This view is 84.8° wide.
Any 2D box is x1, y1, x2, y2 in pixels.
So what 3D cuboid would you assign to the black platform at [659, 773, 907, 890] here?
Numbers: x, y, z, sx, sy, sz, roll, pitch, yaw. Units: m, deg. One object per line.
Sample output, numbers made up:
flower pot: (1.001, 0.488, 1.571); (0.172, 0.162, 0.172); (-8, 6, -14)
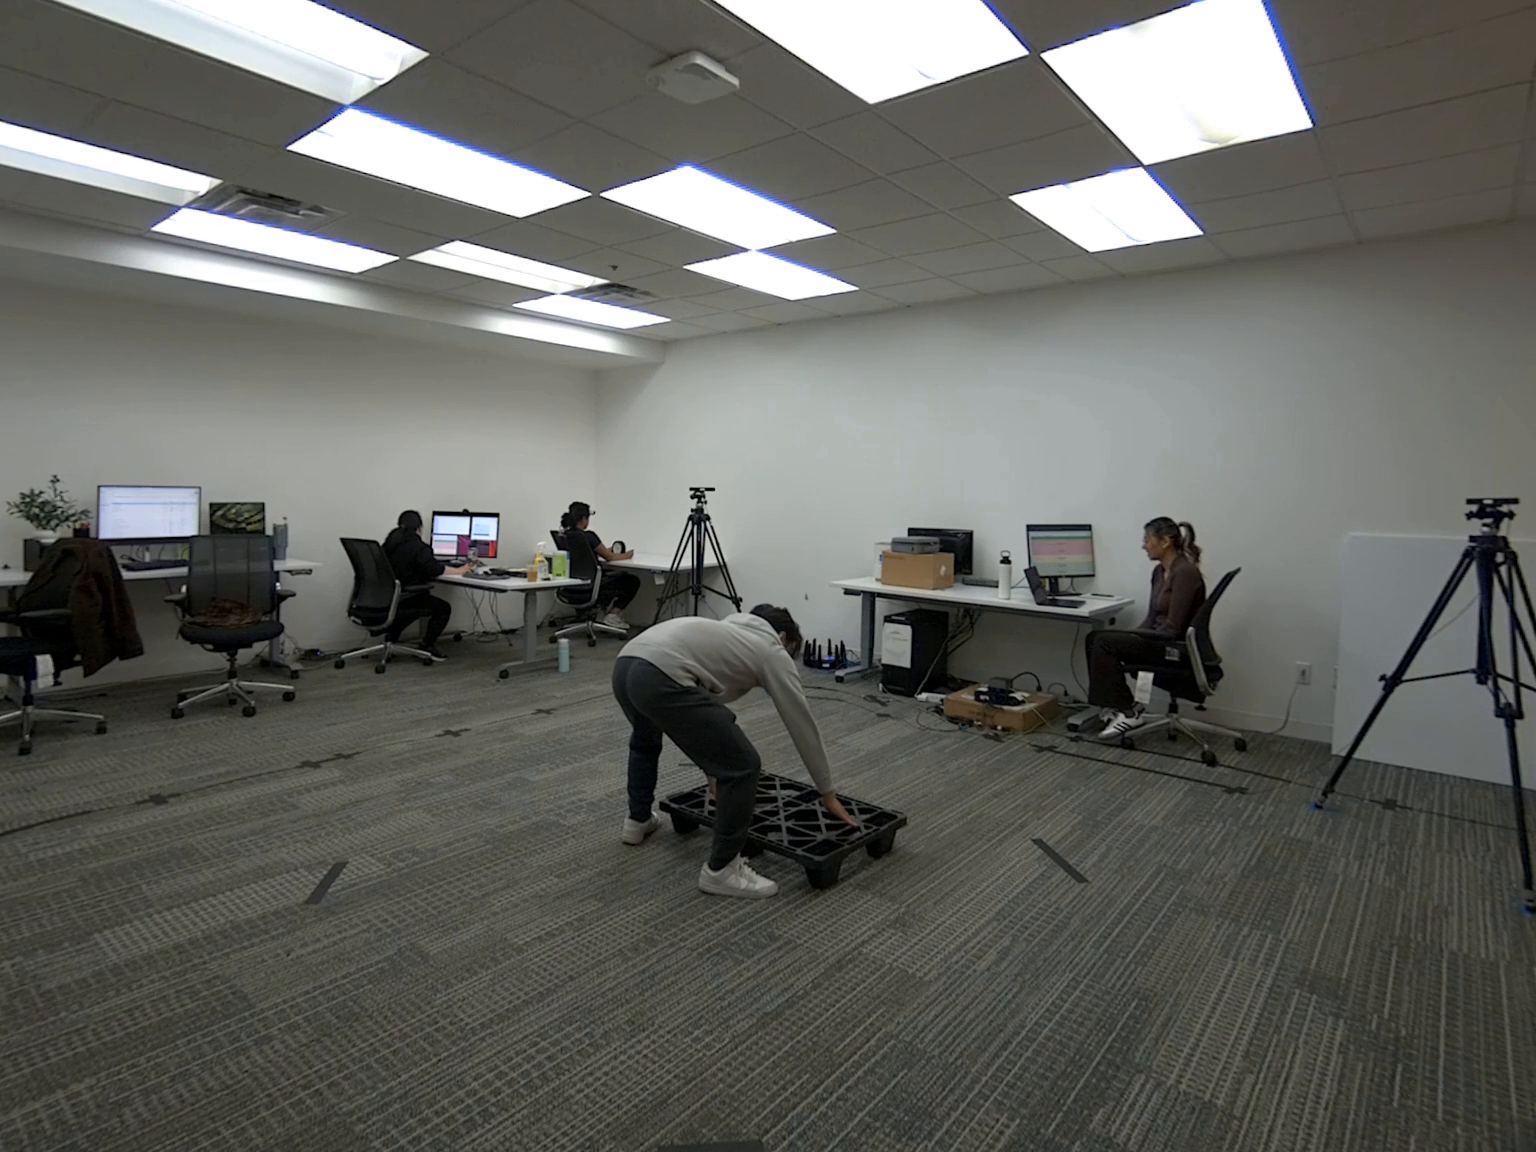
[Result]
black platform: (0.045, 0.981, 3.364); (0.833, 0.143, 0.587); (6, 7, 40)
